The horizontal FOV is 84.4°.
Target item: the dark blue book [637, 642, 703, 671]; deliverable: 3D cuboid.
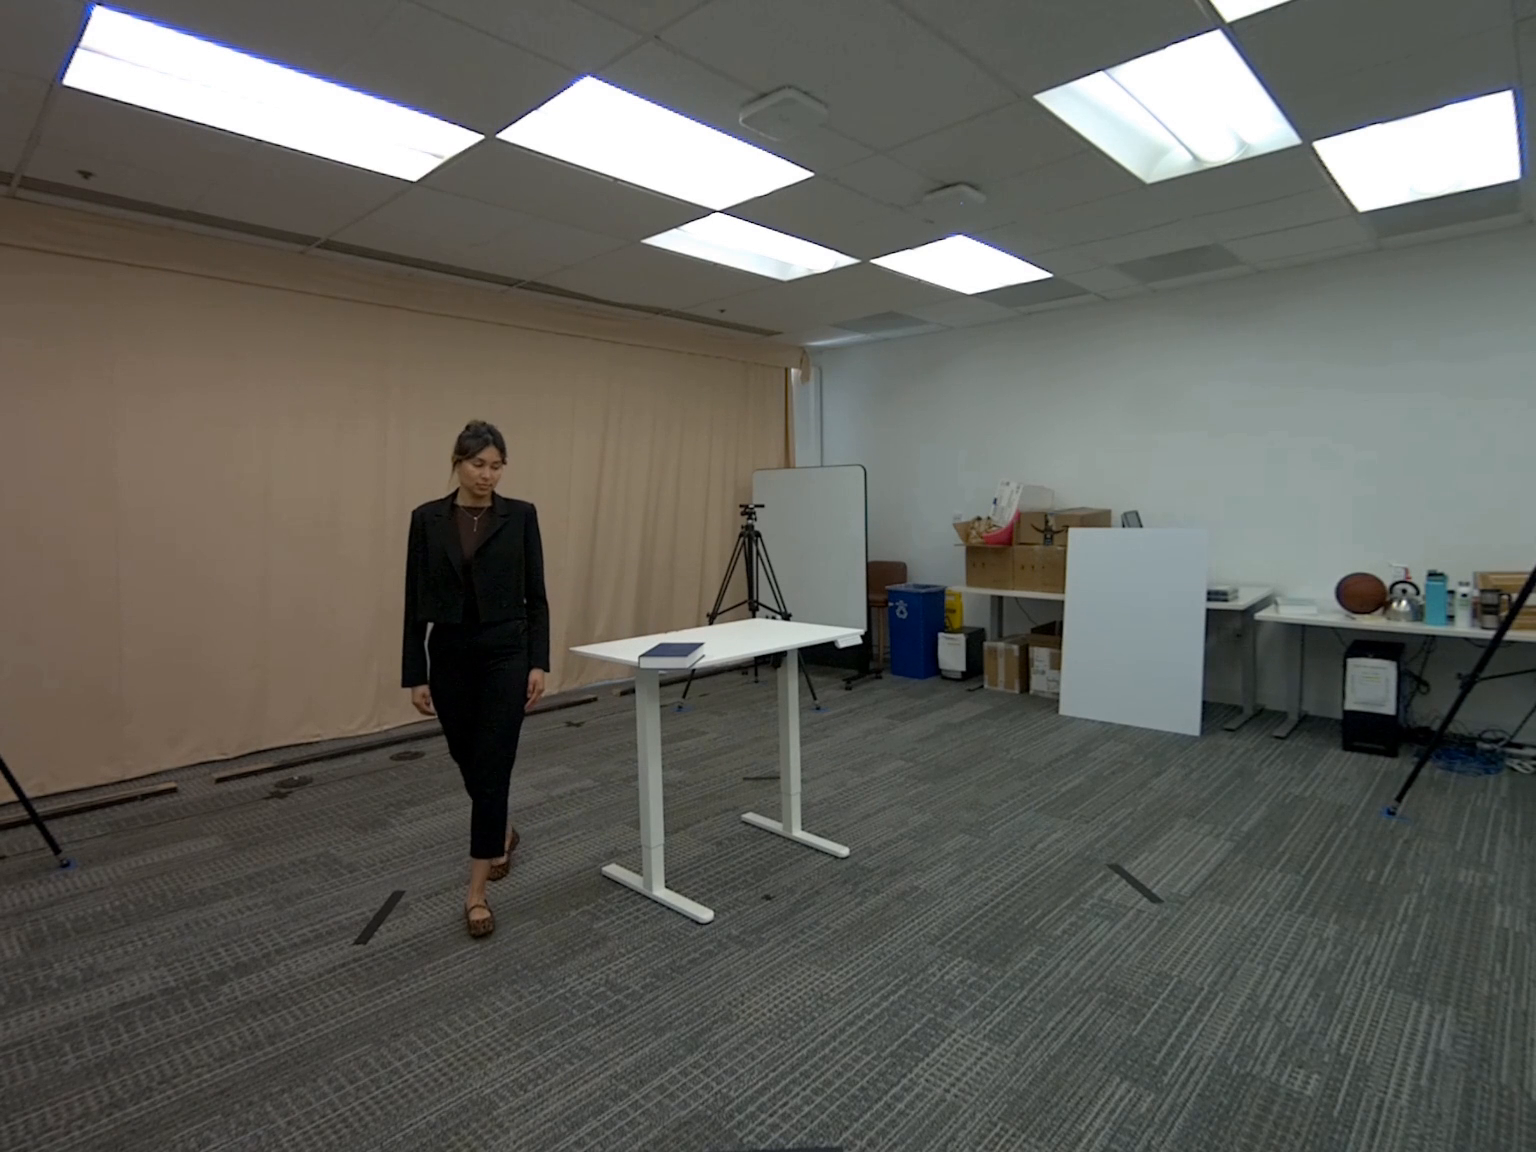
[{"bbox_3d":[-0.304,0.258,2.765,0.165,0.045,0.243,-2,5,10],"label":"dark blue book"}]
